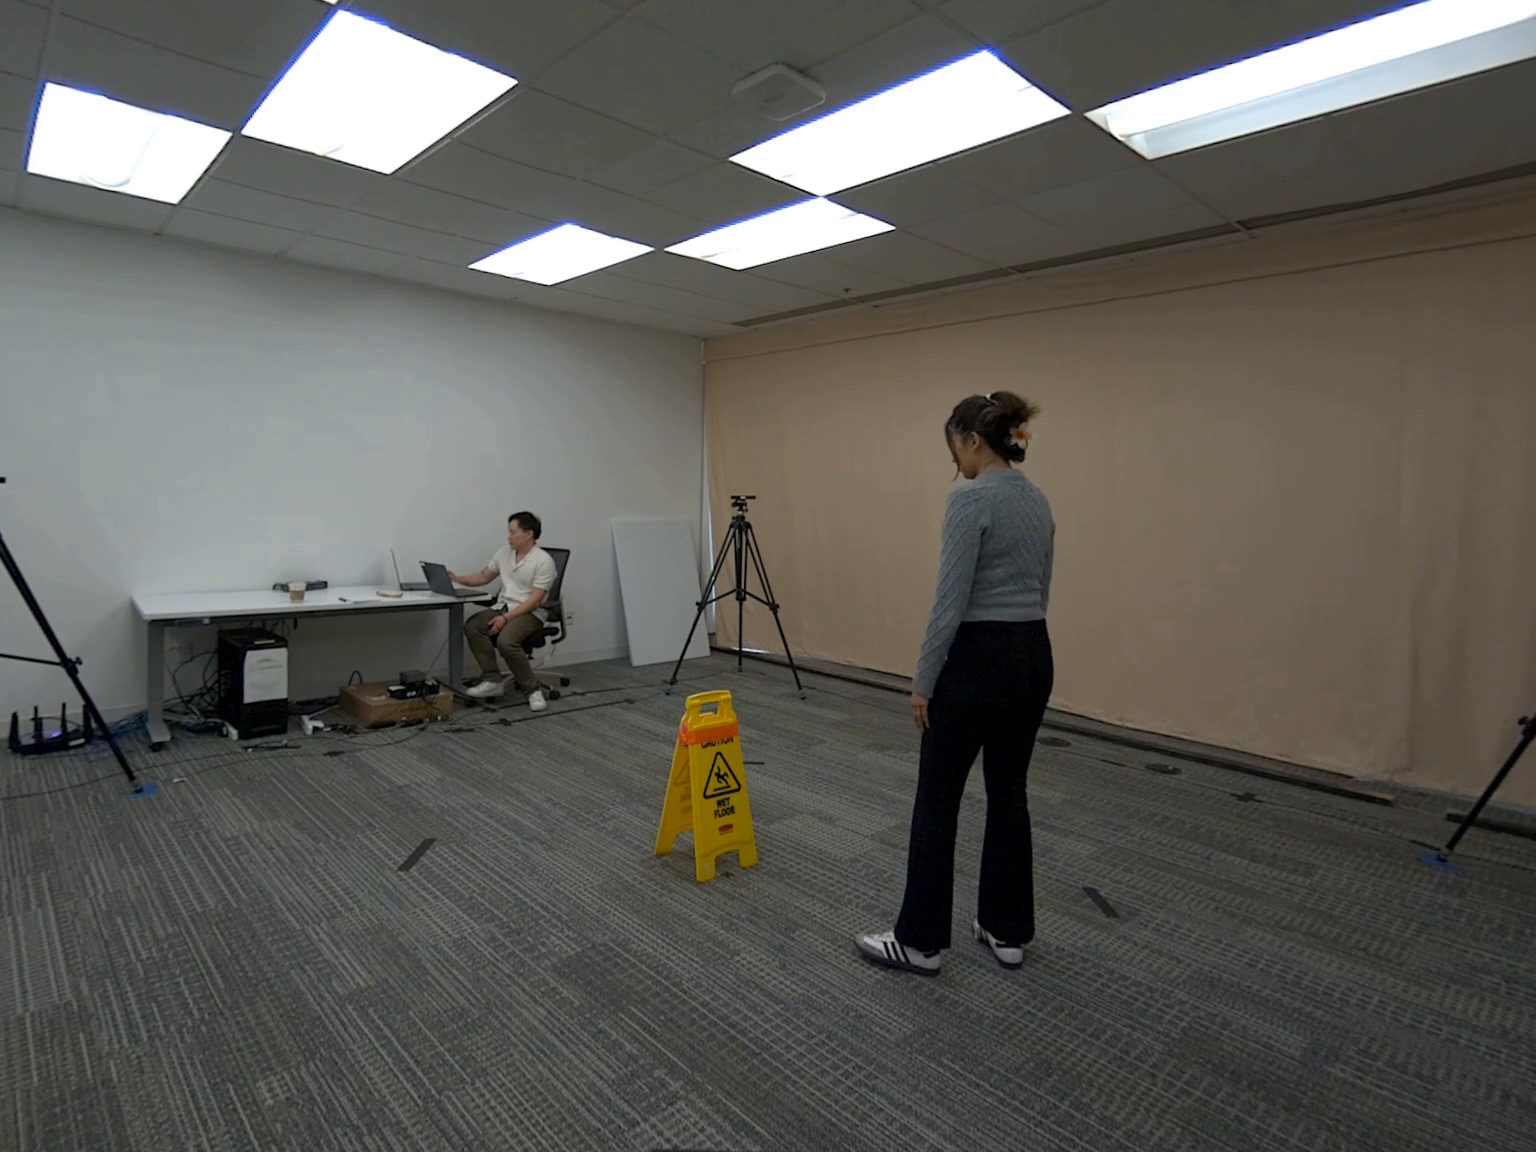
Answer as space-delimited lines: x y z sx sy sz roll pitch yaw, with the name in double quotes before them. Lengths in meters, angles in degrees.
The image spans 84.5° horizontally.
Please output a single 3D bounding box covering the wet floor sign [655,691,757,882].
"wet floor sign" -0.240 0.767 3.211 0.276 0.645 0.297 -1 4 -40
